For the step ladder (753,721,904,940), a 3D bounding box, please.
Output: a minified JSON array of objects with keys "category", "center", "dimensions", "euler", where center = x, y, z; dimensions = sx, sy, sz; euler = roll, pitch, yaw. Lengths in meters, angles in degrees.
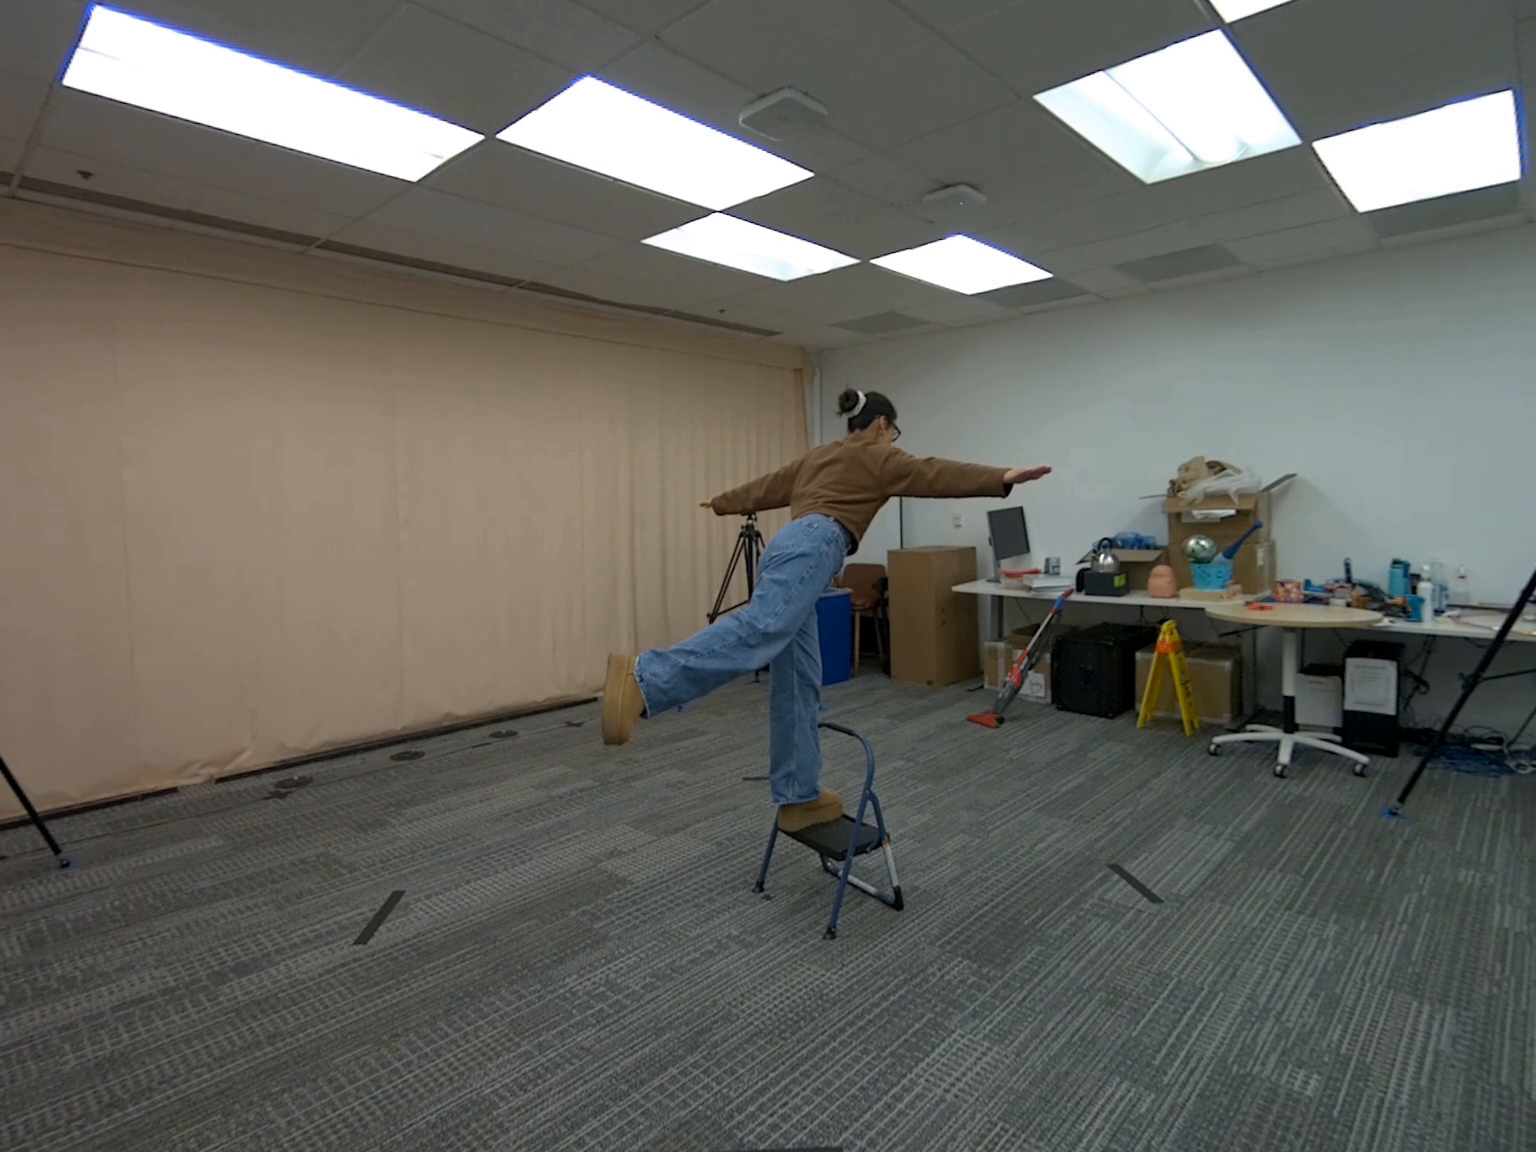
[{"category":"step ladder","center":[0.208,0.839,2.938],"dimensions":[0.339,0.605,0.444],"euler":[-3,4,-36]}]
